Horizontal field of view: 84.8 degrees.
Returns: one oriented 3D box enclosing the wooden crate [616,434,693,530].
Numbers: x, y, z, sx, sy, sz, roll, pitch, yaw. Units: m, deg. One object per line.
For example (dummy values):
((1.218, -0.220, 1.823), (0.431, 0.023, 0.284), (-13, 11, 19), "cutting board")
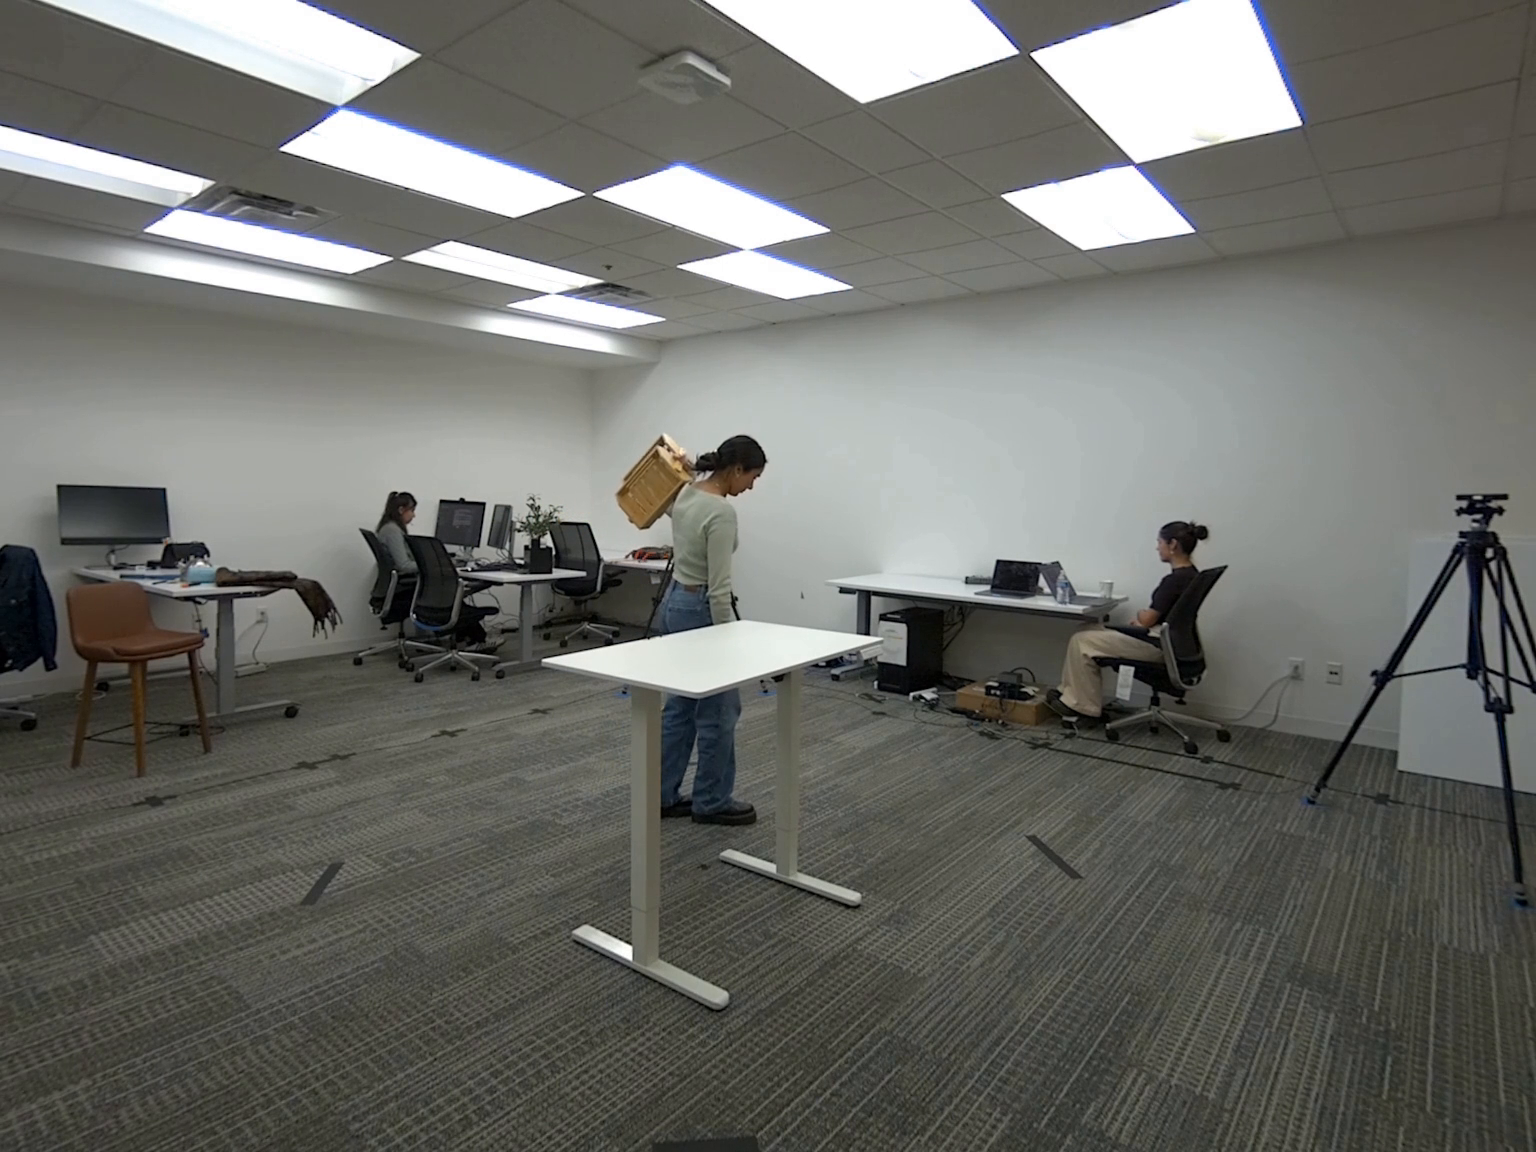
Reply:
((-0.520, -0.429, 3.755), (0.324, 0.308, 0.268), (-46, -12, 20), "wooden crate")
